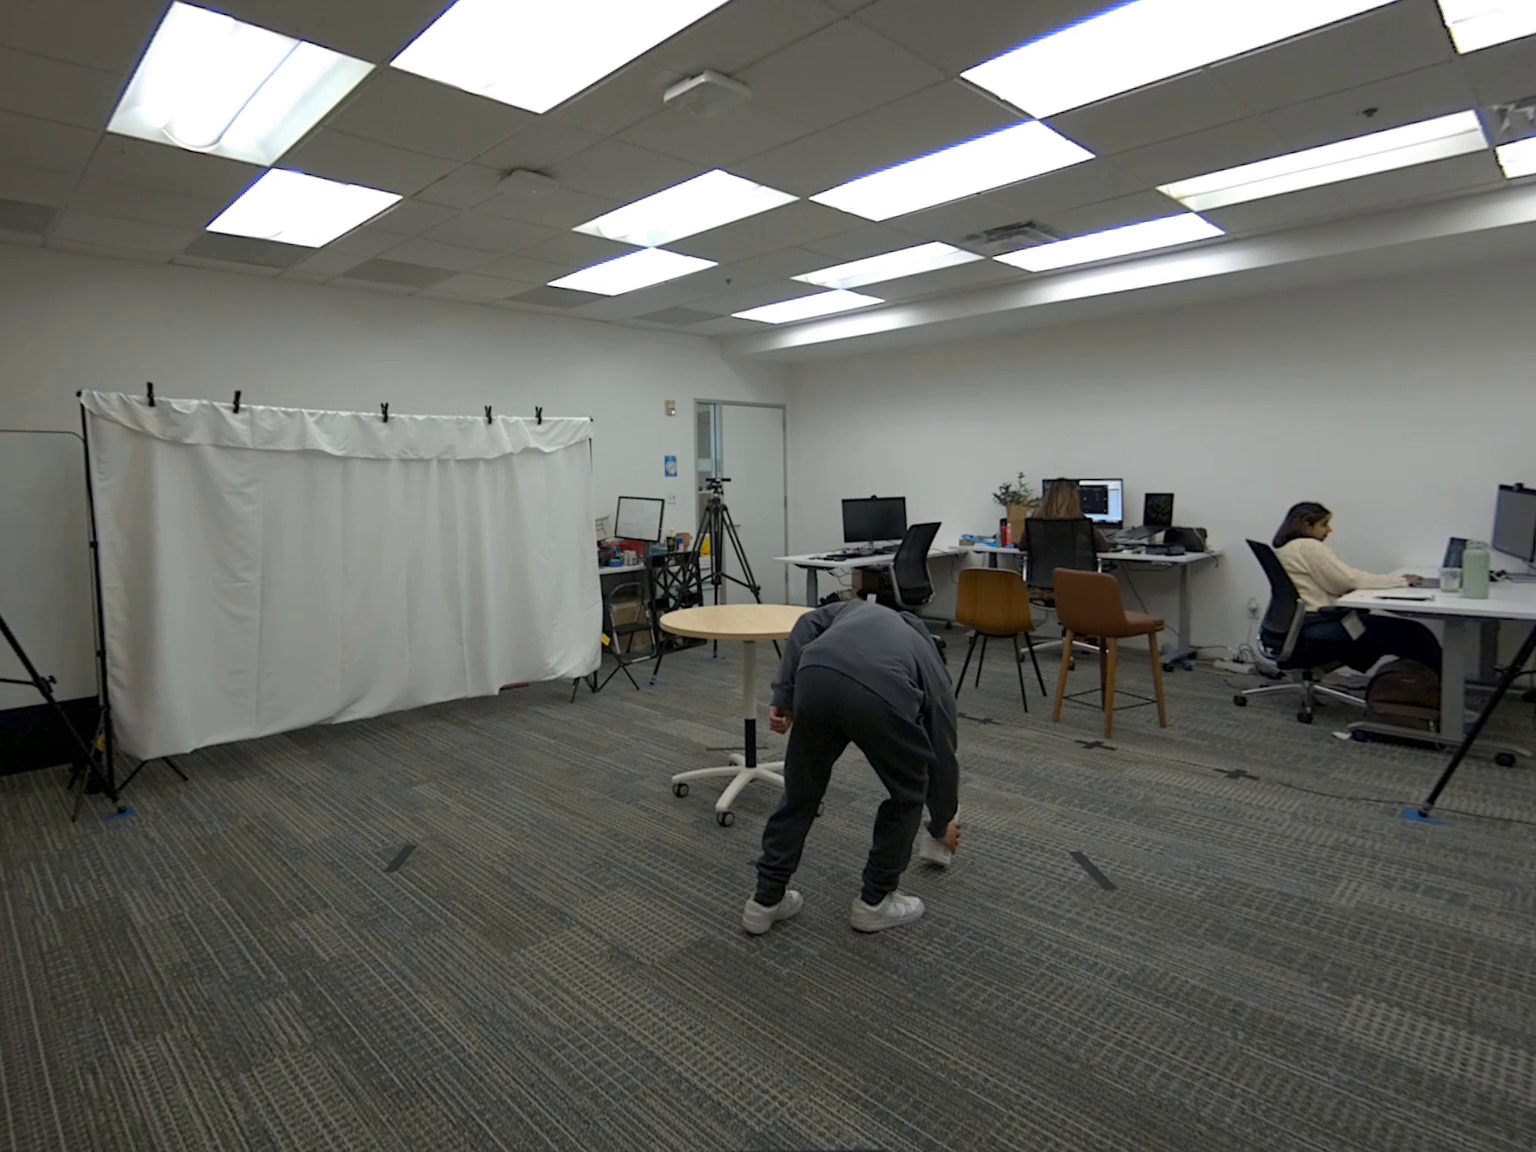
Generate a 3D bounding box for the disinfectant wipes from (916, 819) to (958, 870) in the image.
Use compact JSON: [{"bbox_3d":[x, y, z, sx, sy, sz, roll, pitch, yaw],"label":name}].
[{"bbox_3d":[0.628,0.925,3.071,0.118,0.220,0.116,15,-21,4],"label":"disinfectant wipes"}]
